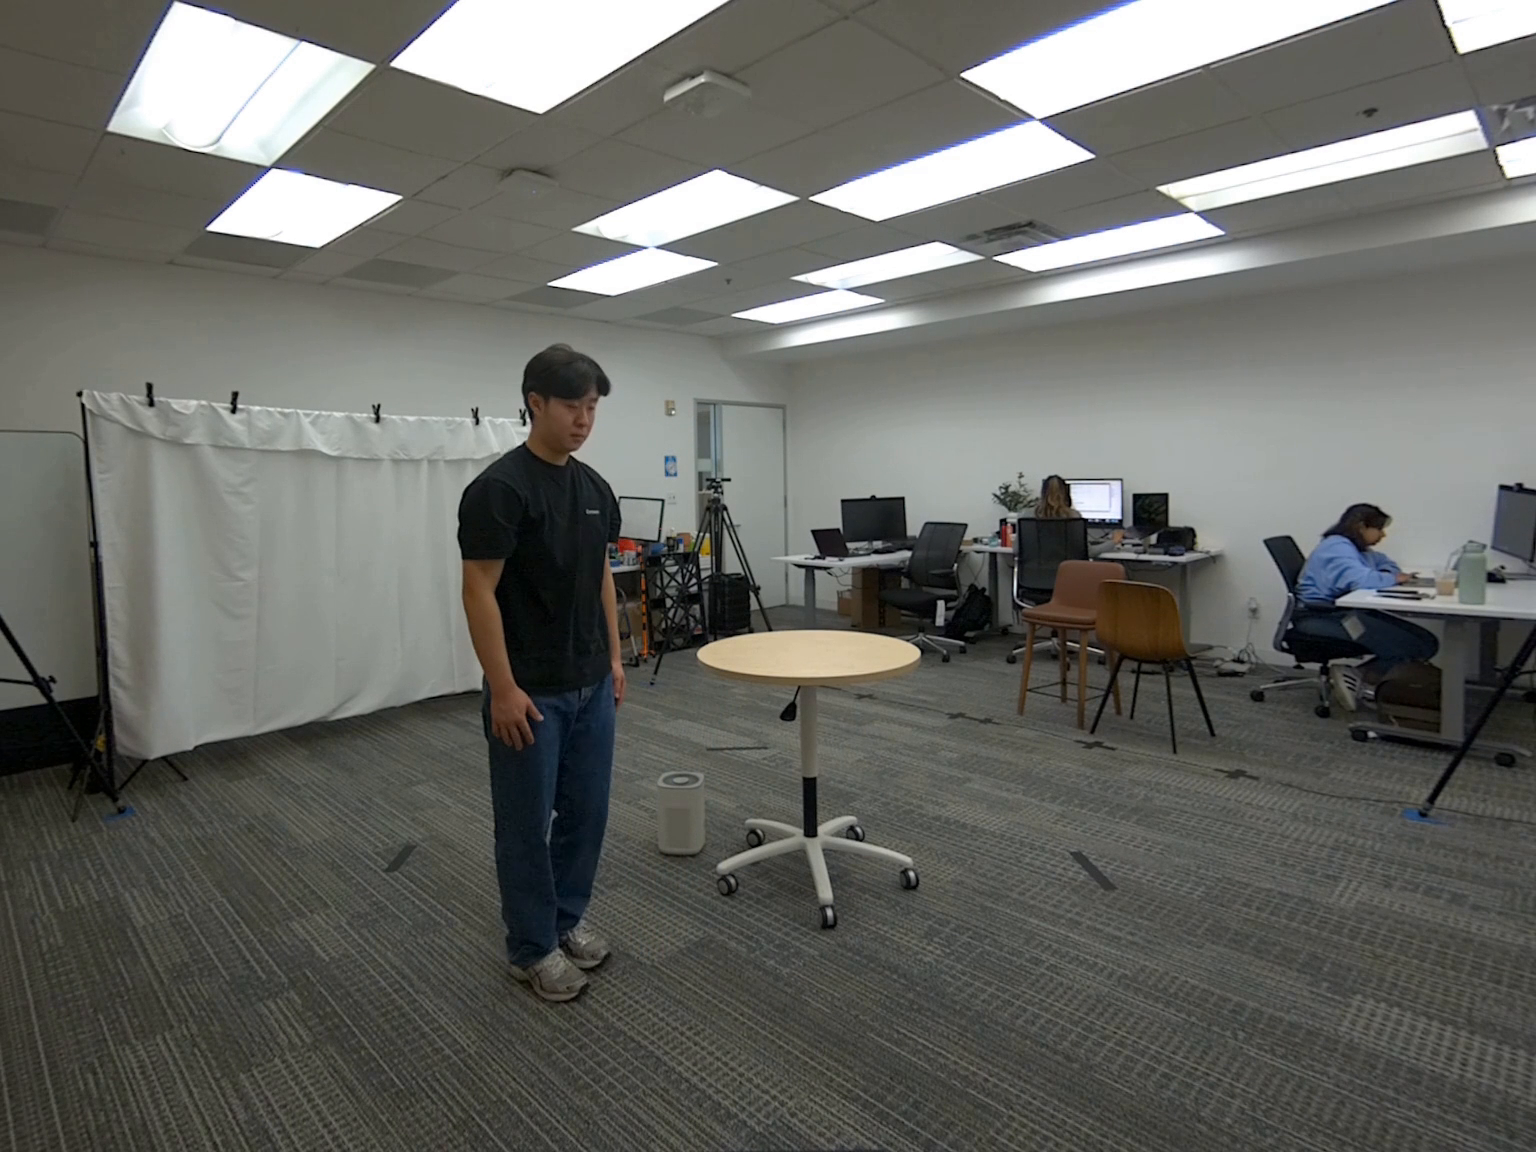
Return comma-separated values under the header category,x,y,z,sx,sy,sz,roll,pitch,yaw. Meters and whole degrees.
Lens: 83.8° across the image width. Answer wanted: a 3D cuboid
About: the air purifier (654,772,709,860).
category,x,y,z,sx,sy,sz,roll,pitch,yaw
air purifier,-0.325,0.898,3.232,0.172,0.264,0.171,-1,4,4
